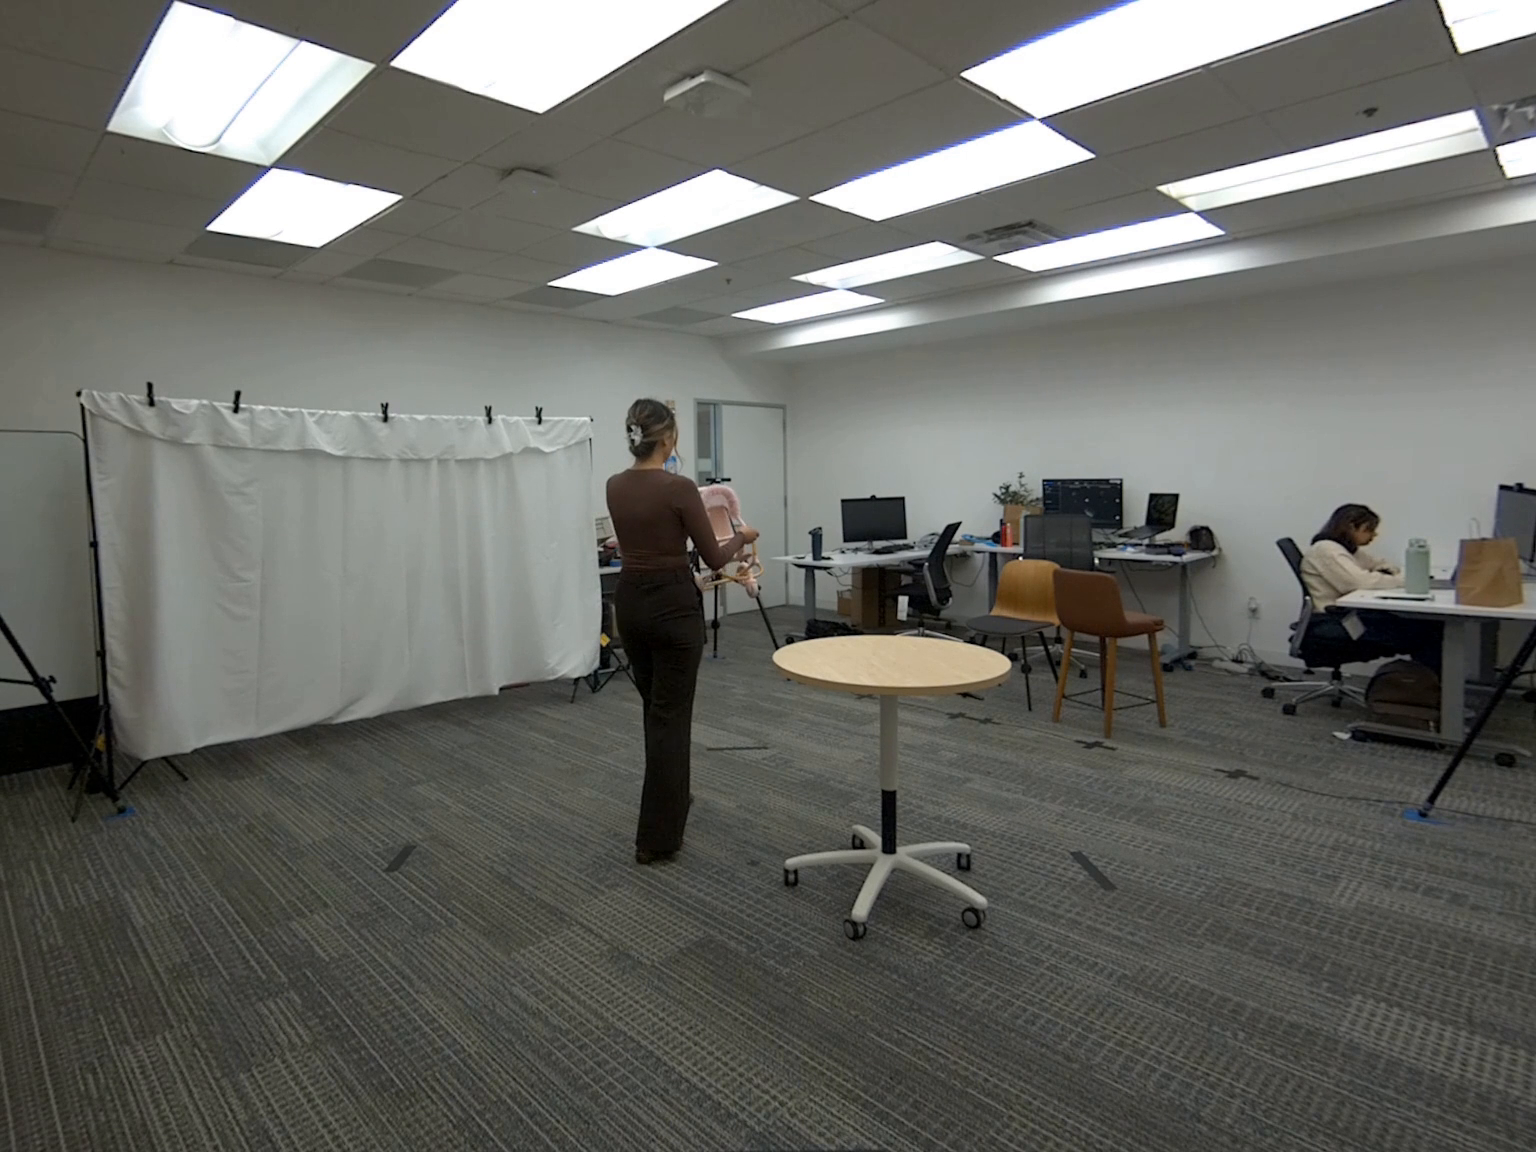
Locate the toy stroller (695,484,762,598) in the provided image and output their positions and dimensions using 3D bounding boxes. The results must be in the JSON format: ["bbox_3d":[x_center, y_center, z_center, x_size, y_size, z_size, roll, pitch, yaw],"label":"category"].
[{"bbox_3d":[-0.188,-0.152,3.639,0.276,0.538,0.346,-10,-5,-27],"label":"toy stroller"}]
